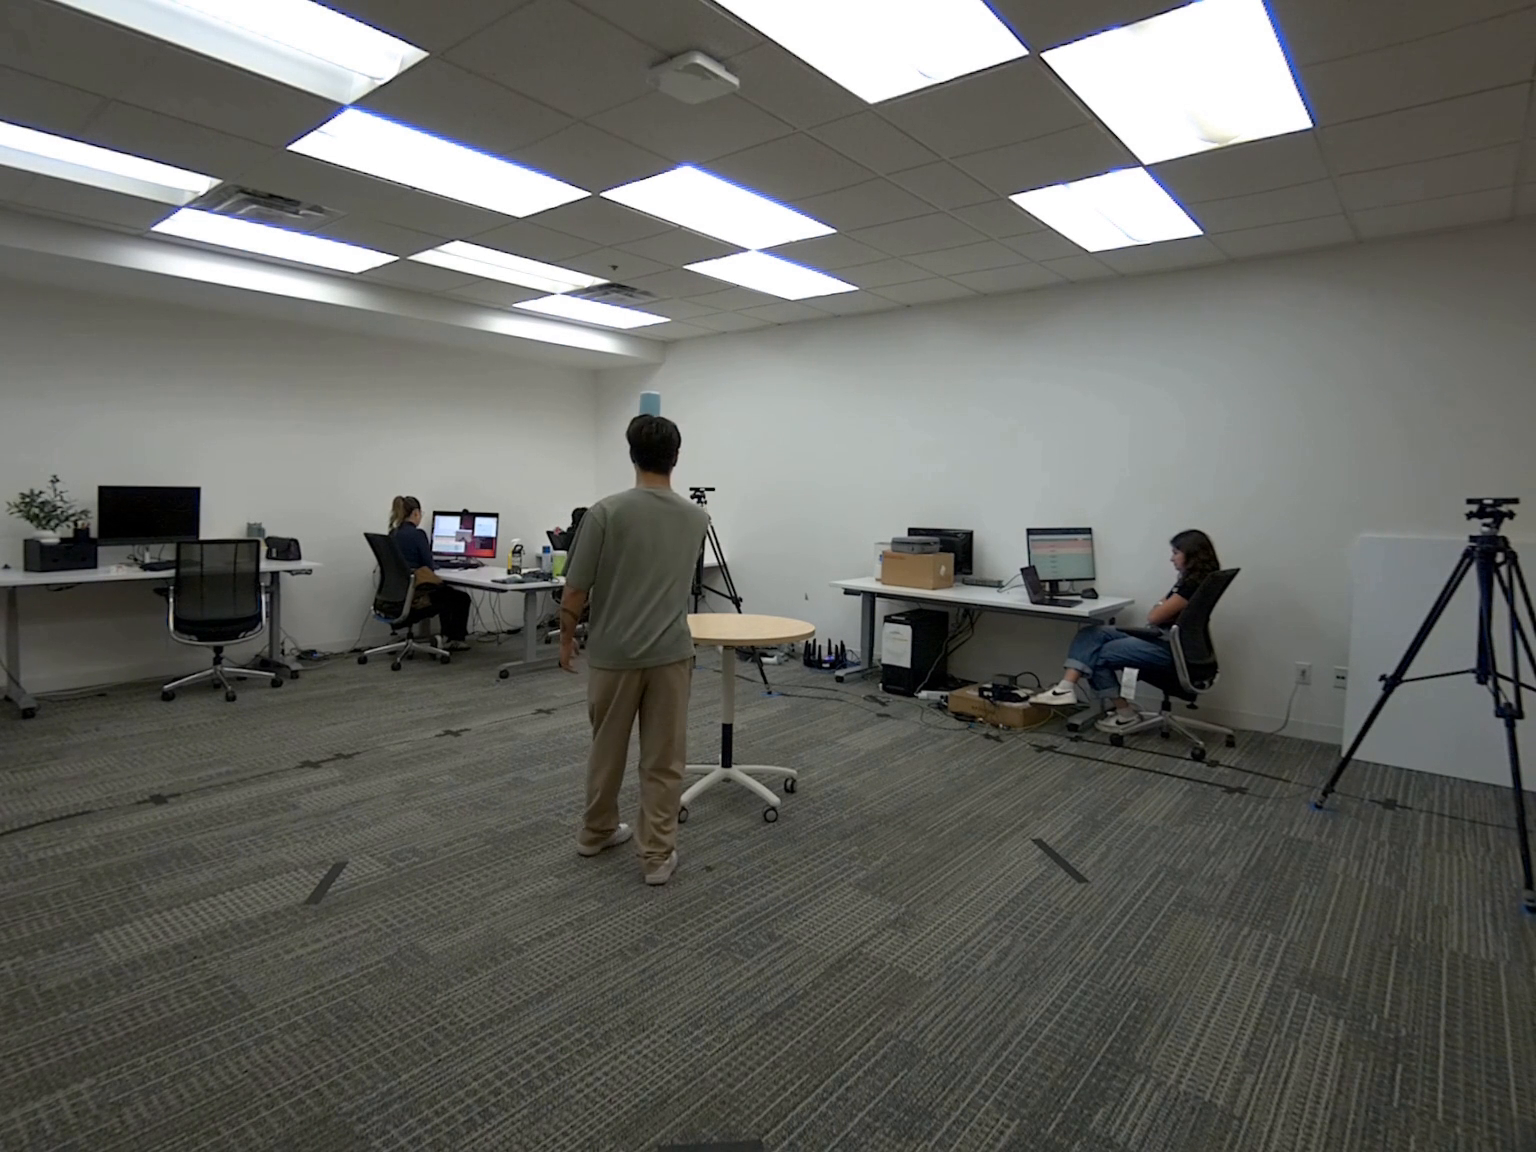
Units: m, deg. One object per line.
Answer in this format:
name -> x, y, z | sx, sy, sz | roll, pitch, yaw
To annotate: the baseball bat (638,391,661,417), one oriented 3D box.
baseball bat -> -0.518, -0.505, 3.556 | 0.089, 0.540, 0.089 | 4, 5, -2
